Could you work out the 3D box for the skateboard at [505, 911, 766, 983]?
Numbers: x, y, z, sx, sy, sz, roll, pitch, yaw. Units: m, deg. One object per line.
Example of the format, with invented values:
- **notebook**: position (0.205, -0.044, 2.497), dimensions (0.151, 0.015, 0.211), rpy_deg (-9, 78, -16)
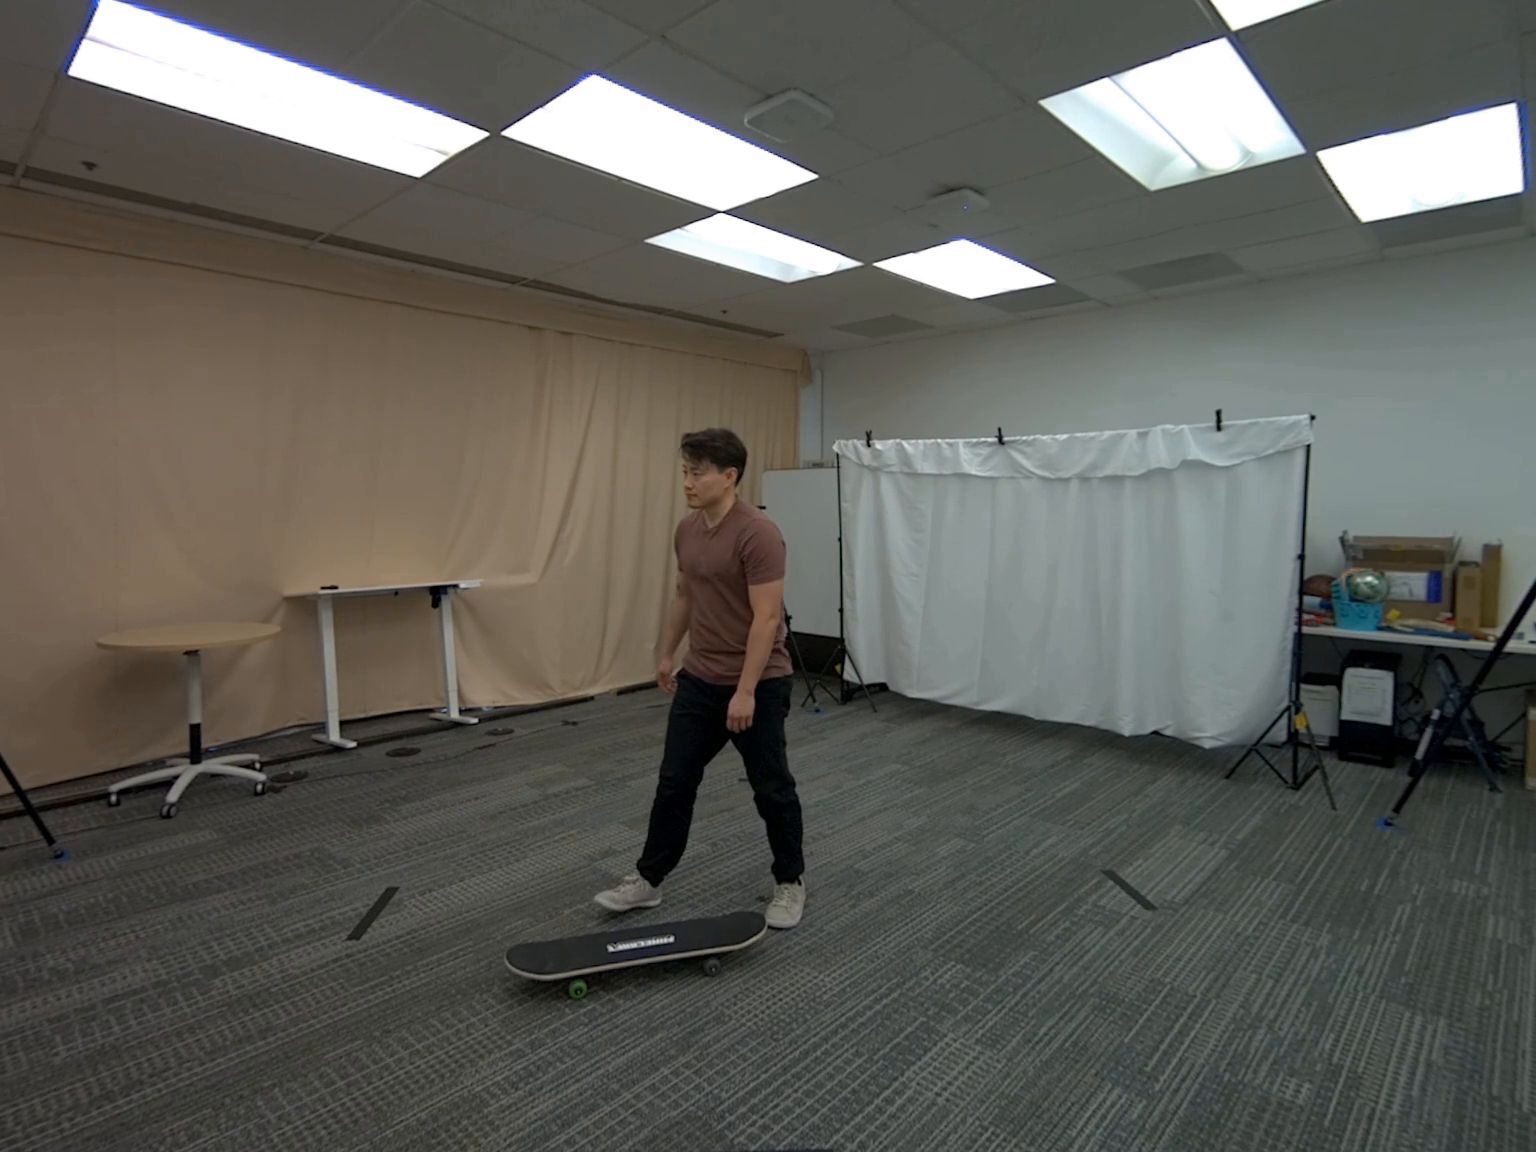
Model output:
- **skateboard**: position (-0.382, 1.135, 2.507), dimensions (0.773, 0.110, 0.197), rpy_deg (-1, 4, -15)
